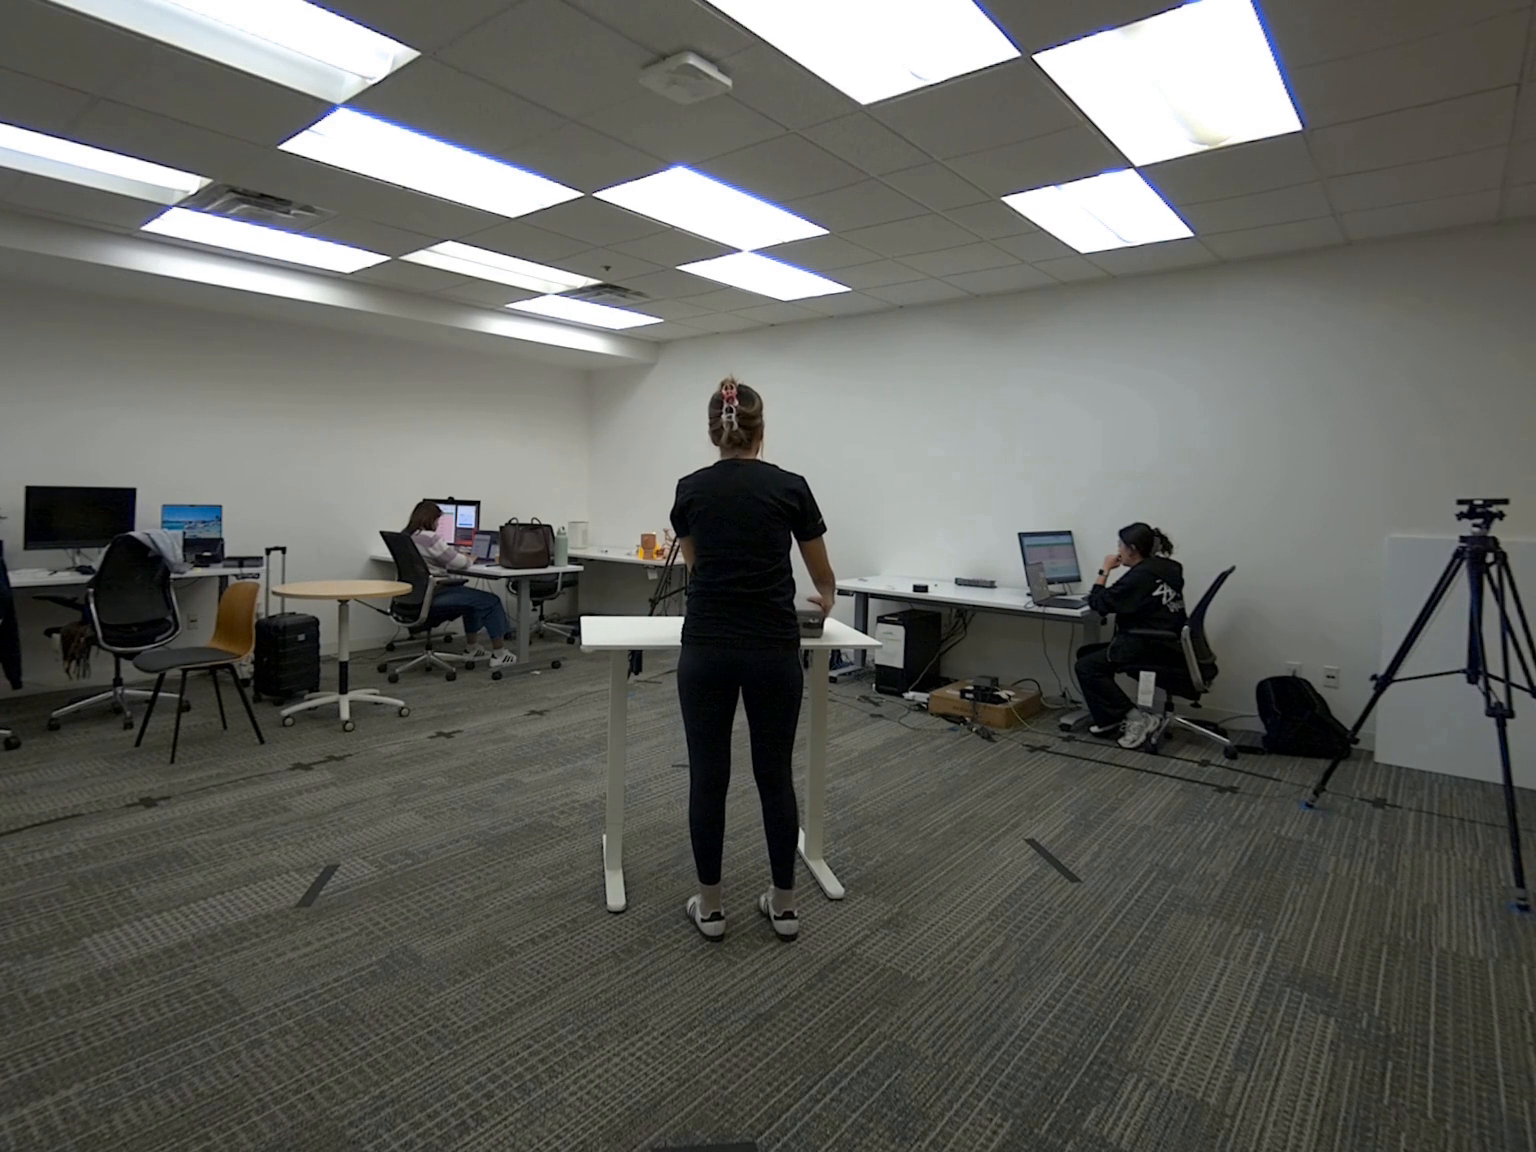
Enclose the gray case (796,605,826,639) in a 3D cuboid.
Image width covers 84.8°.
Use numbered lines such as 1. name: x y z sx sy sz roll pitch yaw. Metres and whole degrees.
1. gray case: 0.055 0.137 3.056 0.255 0.103 0.264 0 9 -6
